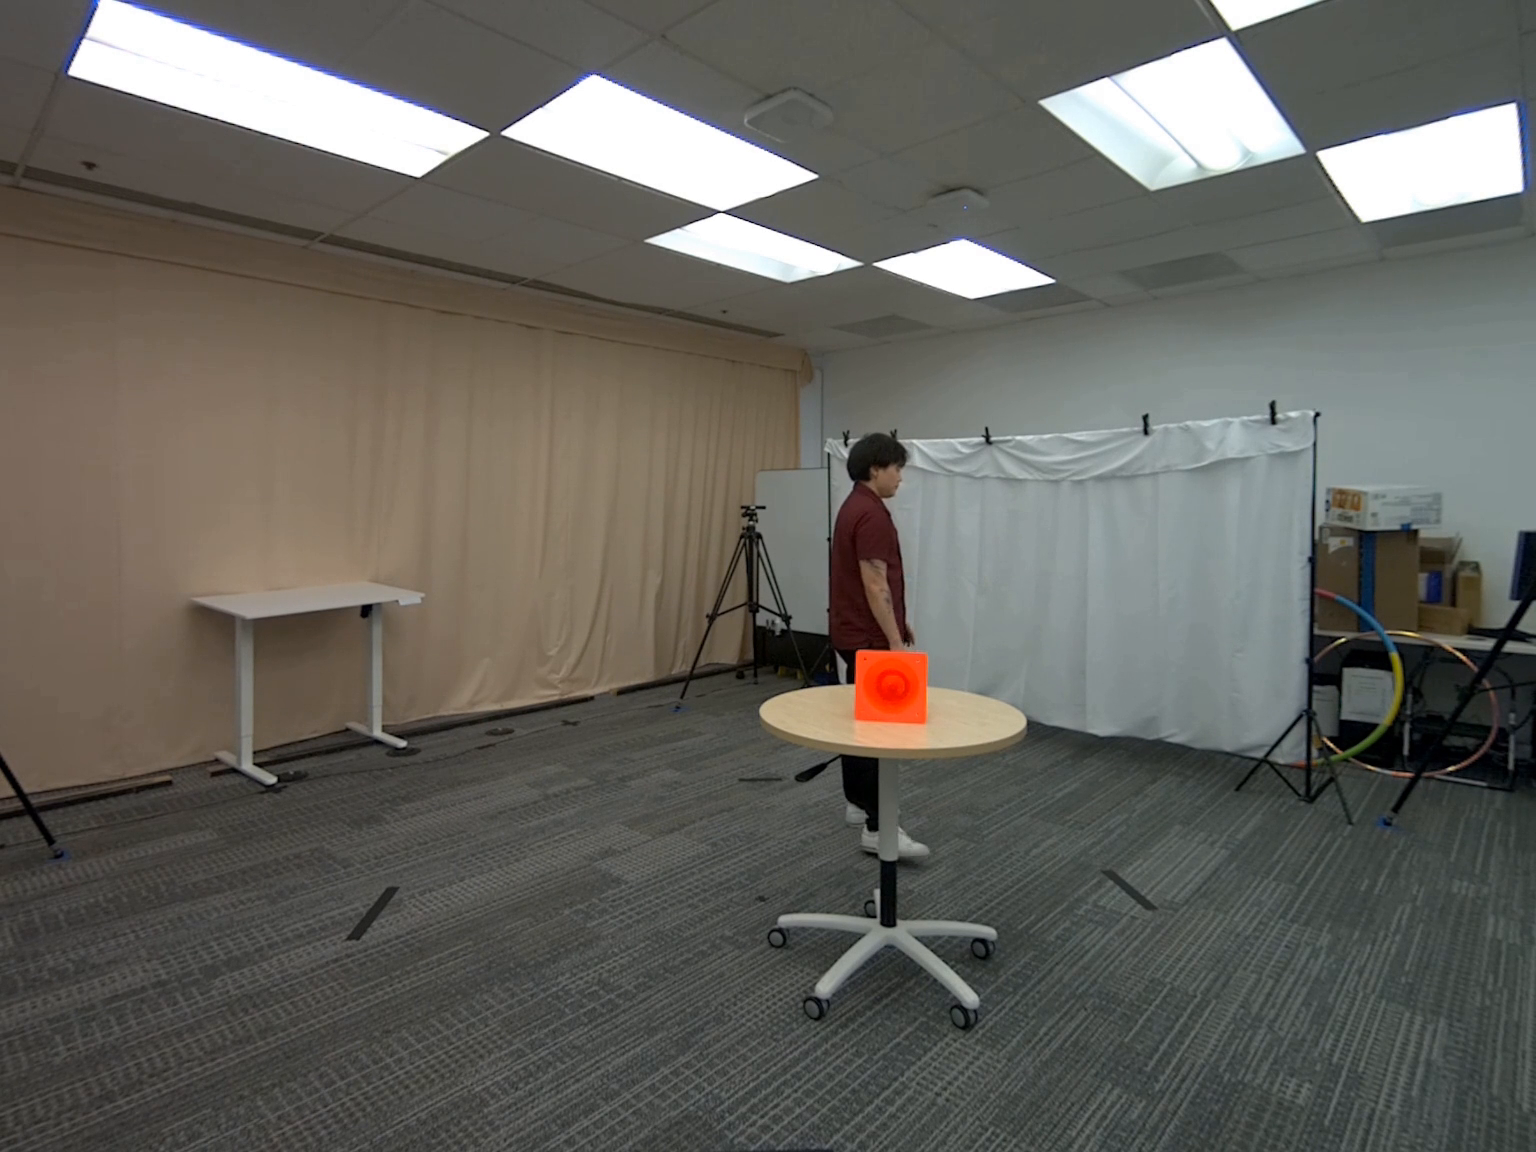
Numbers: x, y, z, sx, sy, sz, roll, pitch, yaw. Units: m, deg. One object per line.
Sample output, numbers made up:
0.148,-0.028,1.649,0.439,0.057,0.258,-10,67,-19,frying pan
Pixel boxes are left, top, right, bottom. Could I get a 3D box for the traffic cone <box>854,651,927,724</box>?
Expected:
0.389,0.332,2.560,0.206,0.205,0.378,6,-6,9,traffic cone
